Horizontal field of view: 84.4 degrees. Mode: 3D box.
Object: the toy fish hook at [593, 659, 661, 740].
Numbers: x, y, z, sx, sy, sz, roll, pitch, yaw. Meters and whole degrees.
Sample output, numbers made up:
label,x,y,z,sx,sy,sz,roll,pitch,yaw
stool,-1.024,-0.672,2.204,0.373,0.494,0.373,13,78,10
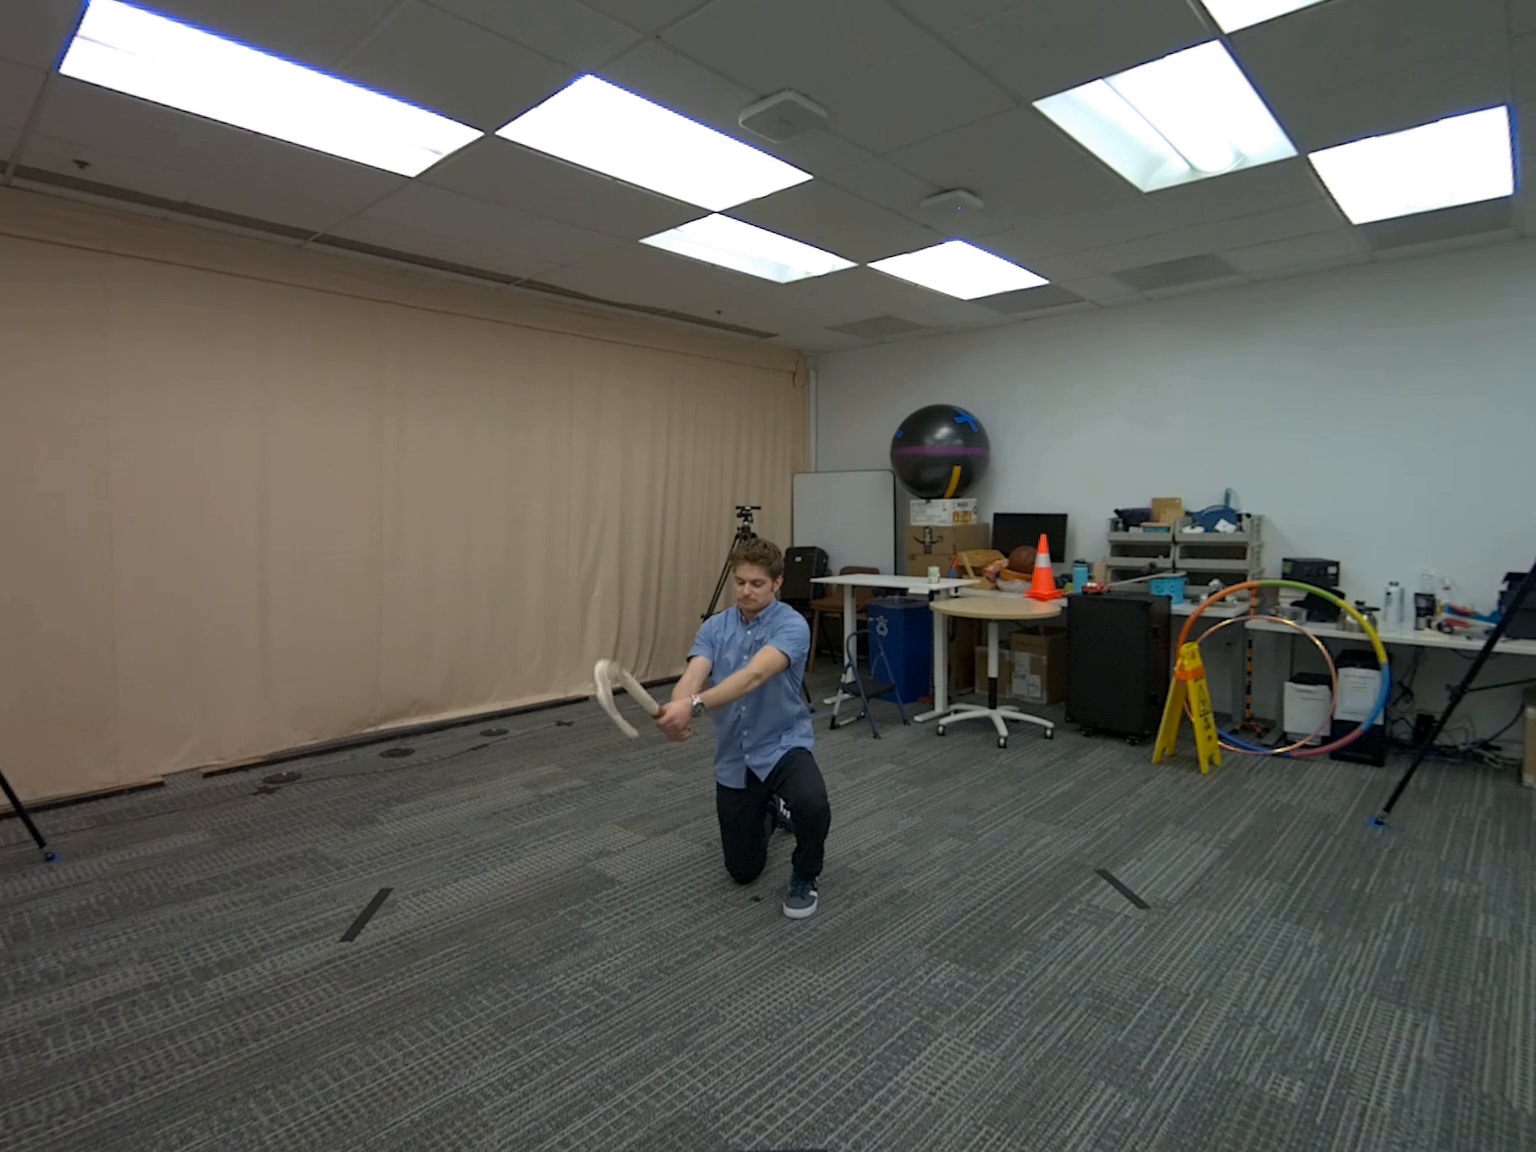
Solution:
label,x,y,z,sx,sy,sz,roll,pitch,yaw
toy fish hook,-0.363,0.424,2.533,0.049,0.229,0.489,-24,-44,20
